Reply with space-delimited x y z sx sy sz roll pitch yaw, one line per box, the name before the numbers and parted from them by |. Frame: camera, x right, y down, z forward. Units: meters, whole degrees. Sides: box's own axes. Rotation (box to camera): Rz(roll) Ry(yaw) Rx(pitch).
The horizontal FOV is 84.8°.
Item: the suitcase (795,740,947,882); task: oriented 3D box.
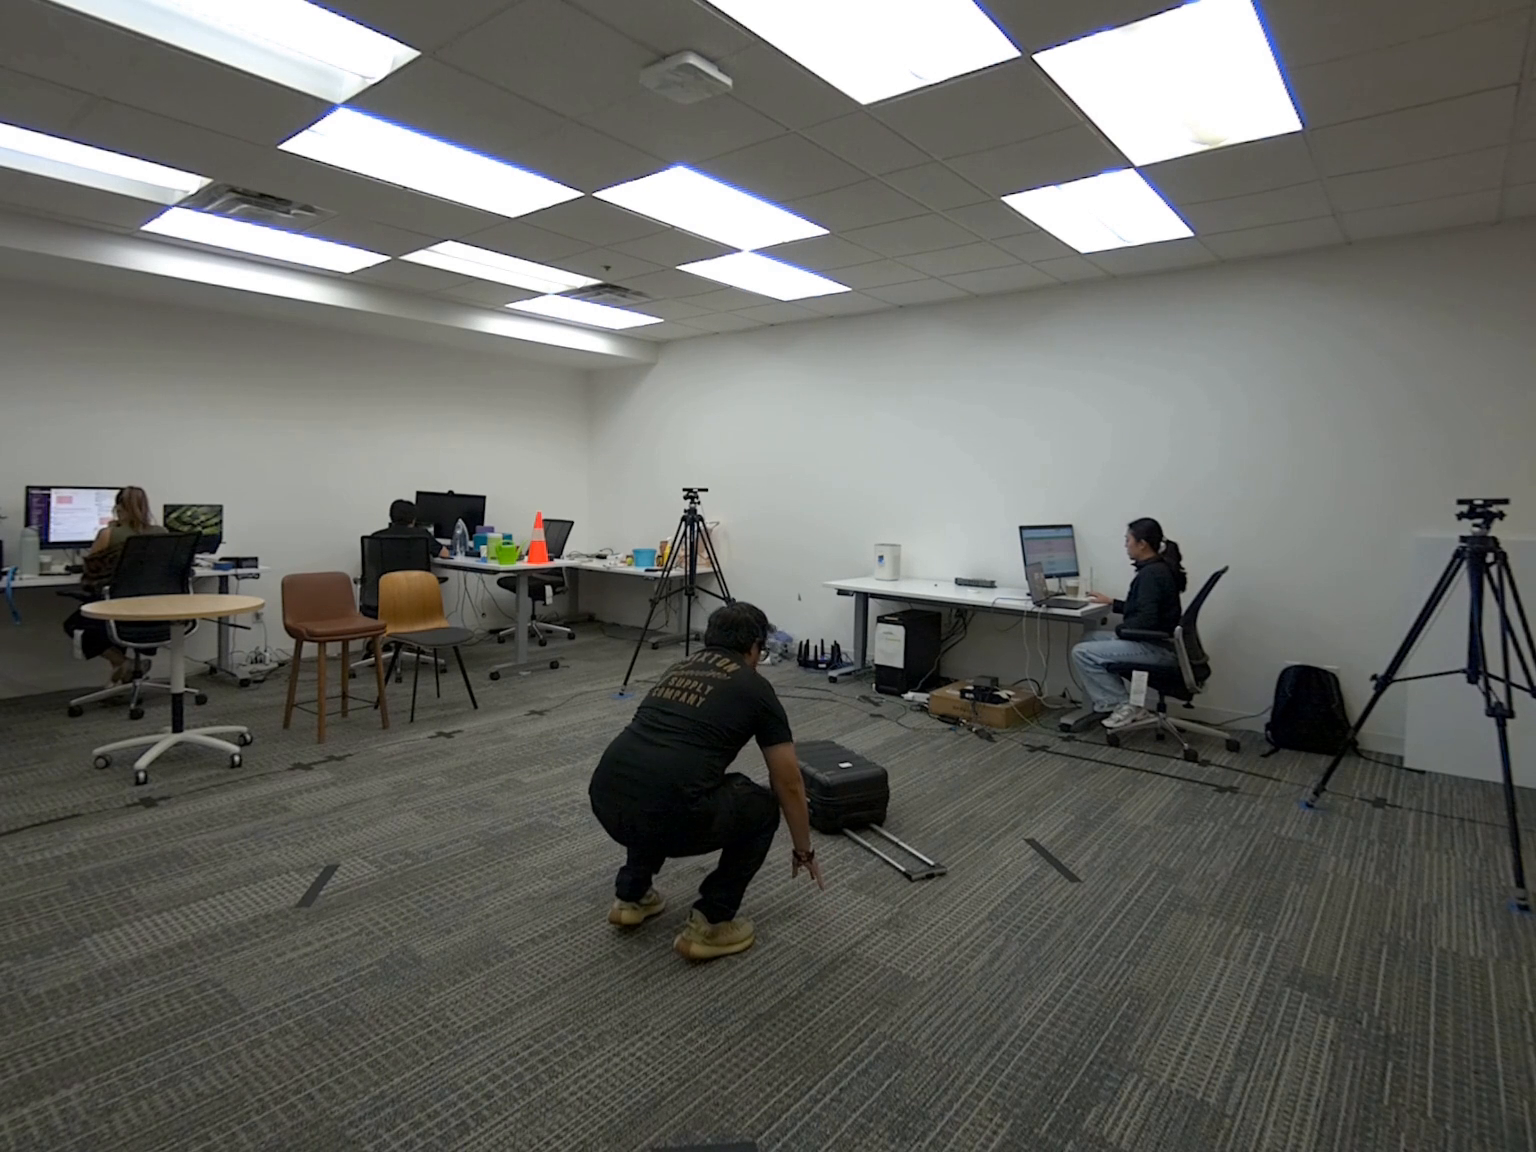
suitcase | 0.341 0.915 3.522 0.374 0.256 1.006 0 5 -28
